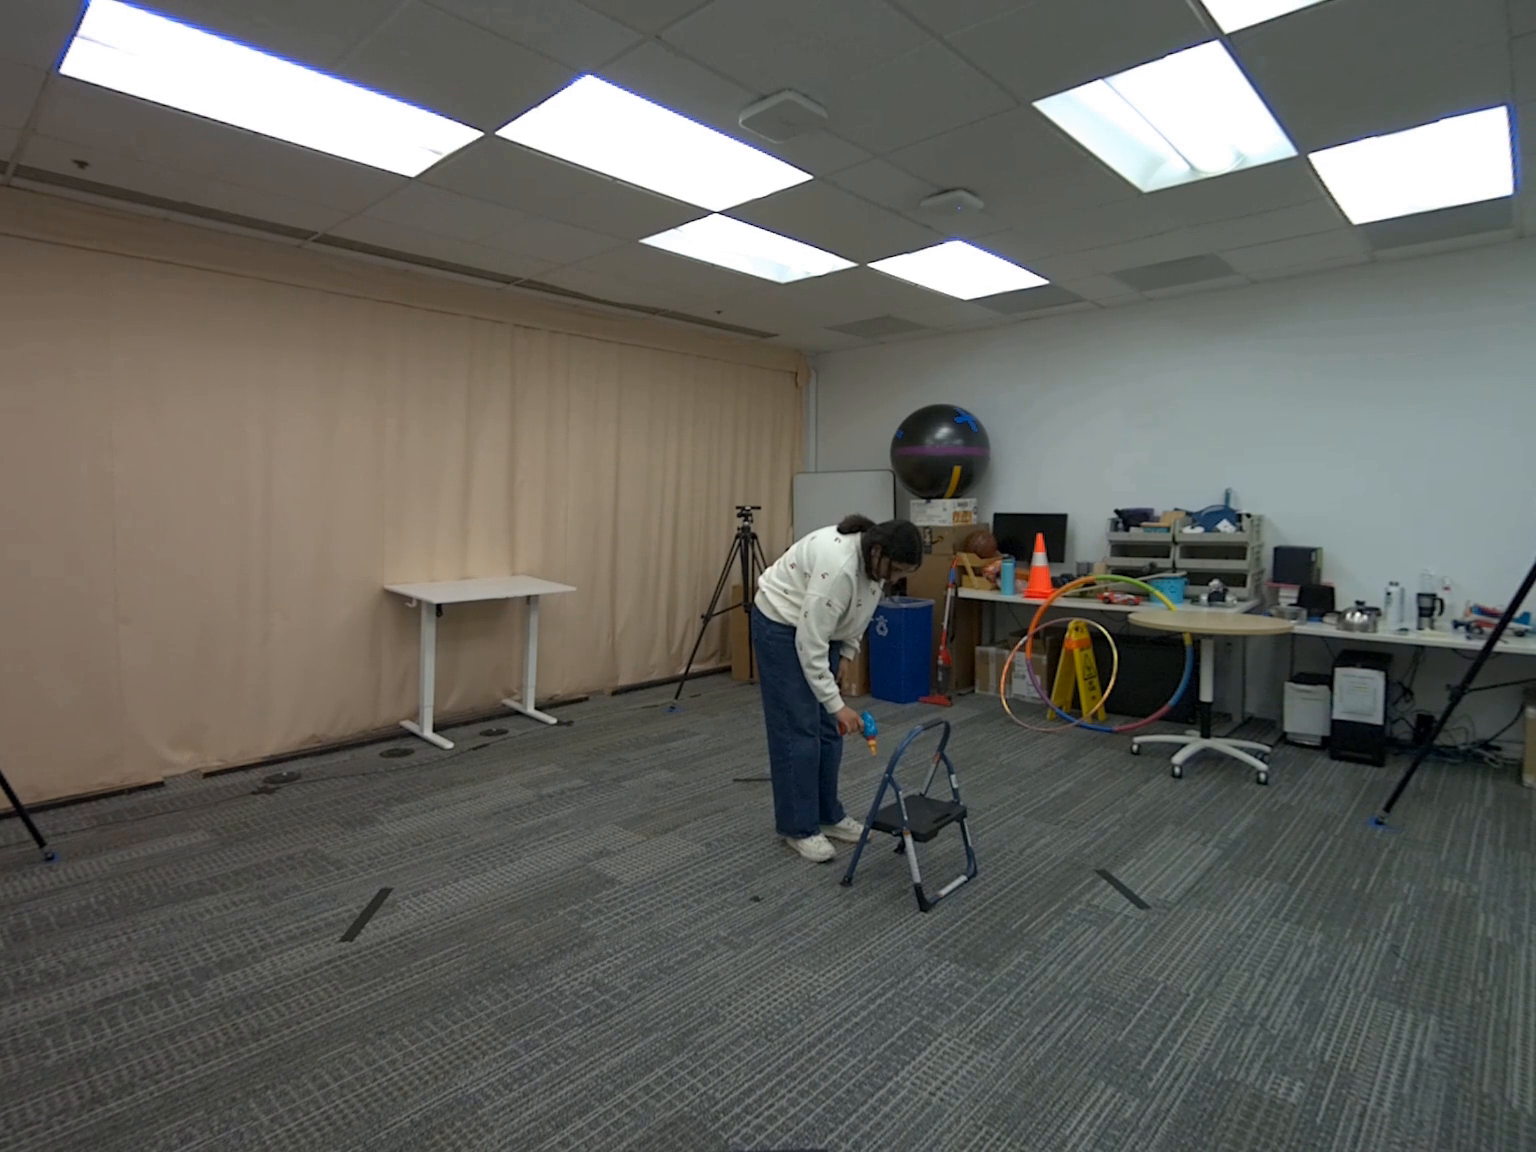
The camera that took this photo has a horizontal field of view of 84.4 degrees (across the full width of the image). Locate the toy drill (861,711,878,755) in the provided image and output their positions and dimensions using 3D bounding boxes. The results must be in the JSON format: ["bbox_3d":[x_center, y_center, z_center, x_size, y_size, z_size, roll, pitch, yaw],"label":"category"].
[{"bbox_3d":[0.363,0.612,3.228,0.147,0.173,0.060,-17,-22,5],"label":"toy drill"}]
